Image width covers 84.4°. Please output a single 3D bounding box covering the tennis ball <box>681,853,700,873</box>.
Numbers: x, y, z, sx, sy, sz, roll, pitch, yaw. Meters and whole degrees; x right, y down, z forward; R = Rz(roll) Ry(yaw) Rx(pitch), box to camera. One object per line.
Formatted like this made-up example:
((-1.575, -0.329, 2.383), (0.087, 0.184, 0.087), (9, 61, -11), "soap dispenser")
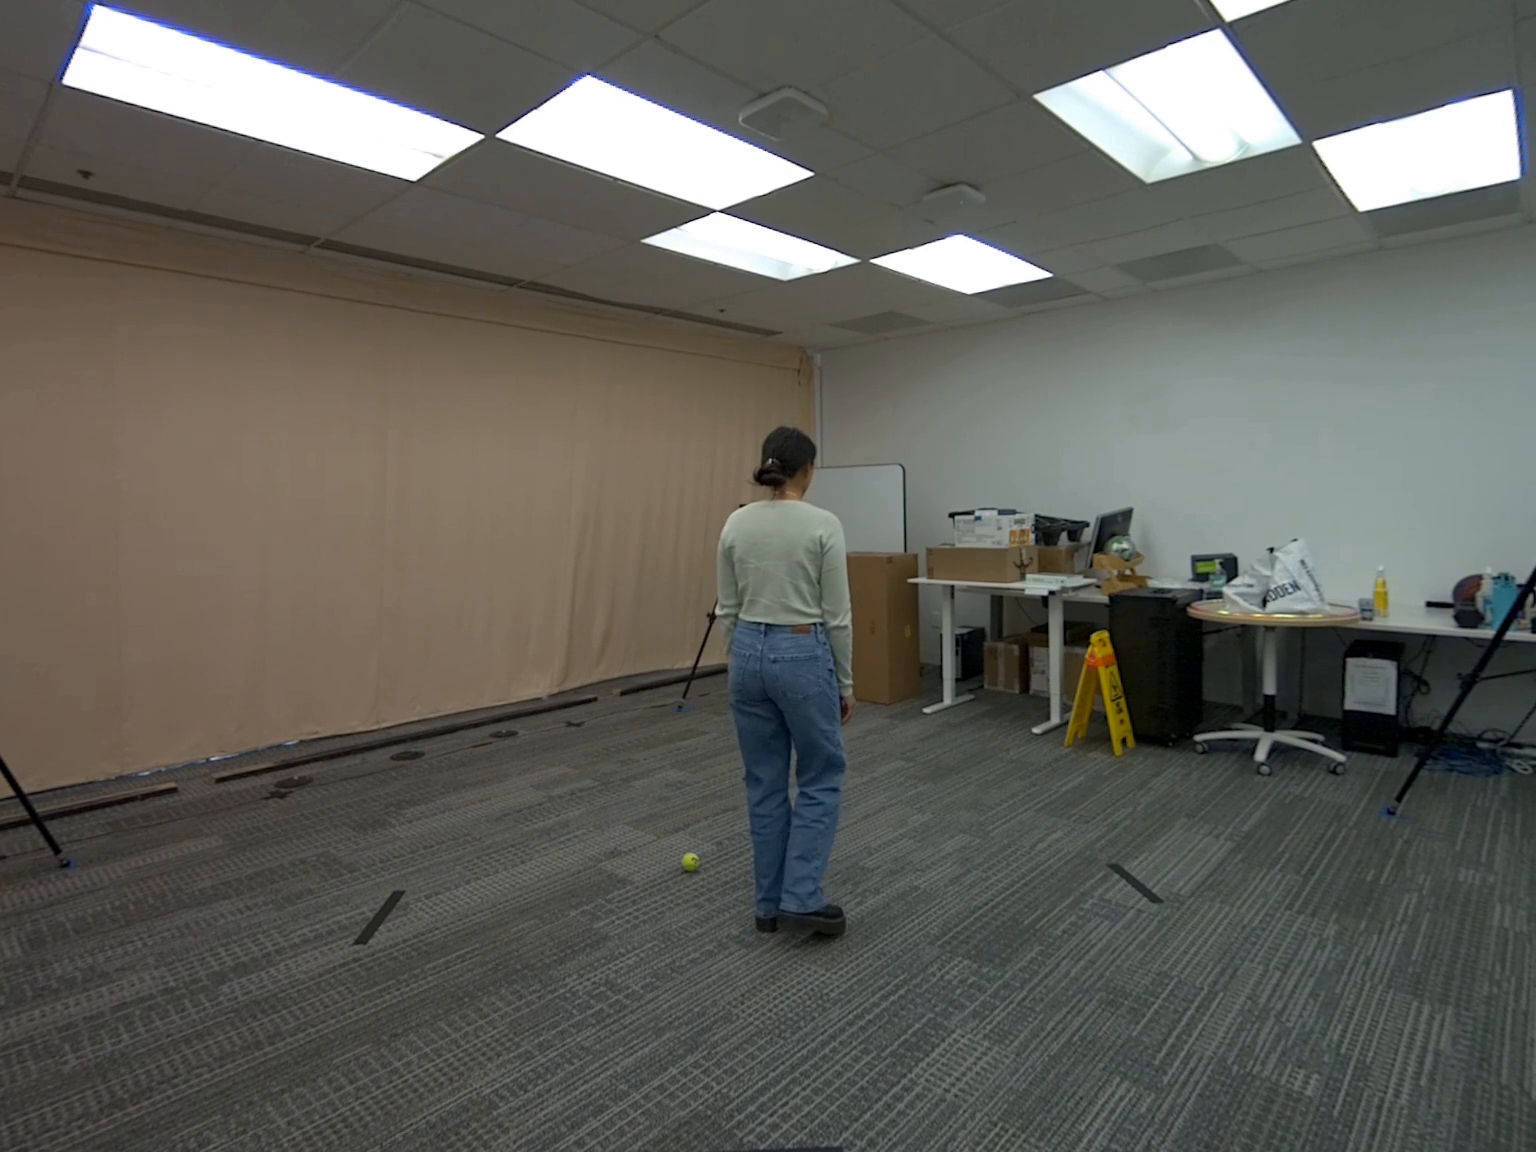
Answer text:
((-0.303, 1.079, 3.208), (0.066, 0.066, 0.067), (-1, 4, -2), "tennis ball")
